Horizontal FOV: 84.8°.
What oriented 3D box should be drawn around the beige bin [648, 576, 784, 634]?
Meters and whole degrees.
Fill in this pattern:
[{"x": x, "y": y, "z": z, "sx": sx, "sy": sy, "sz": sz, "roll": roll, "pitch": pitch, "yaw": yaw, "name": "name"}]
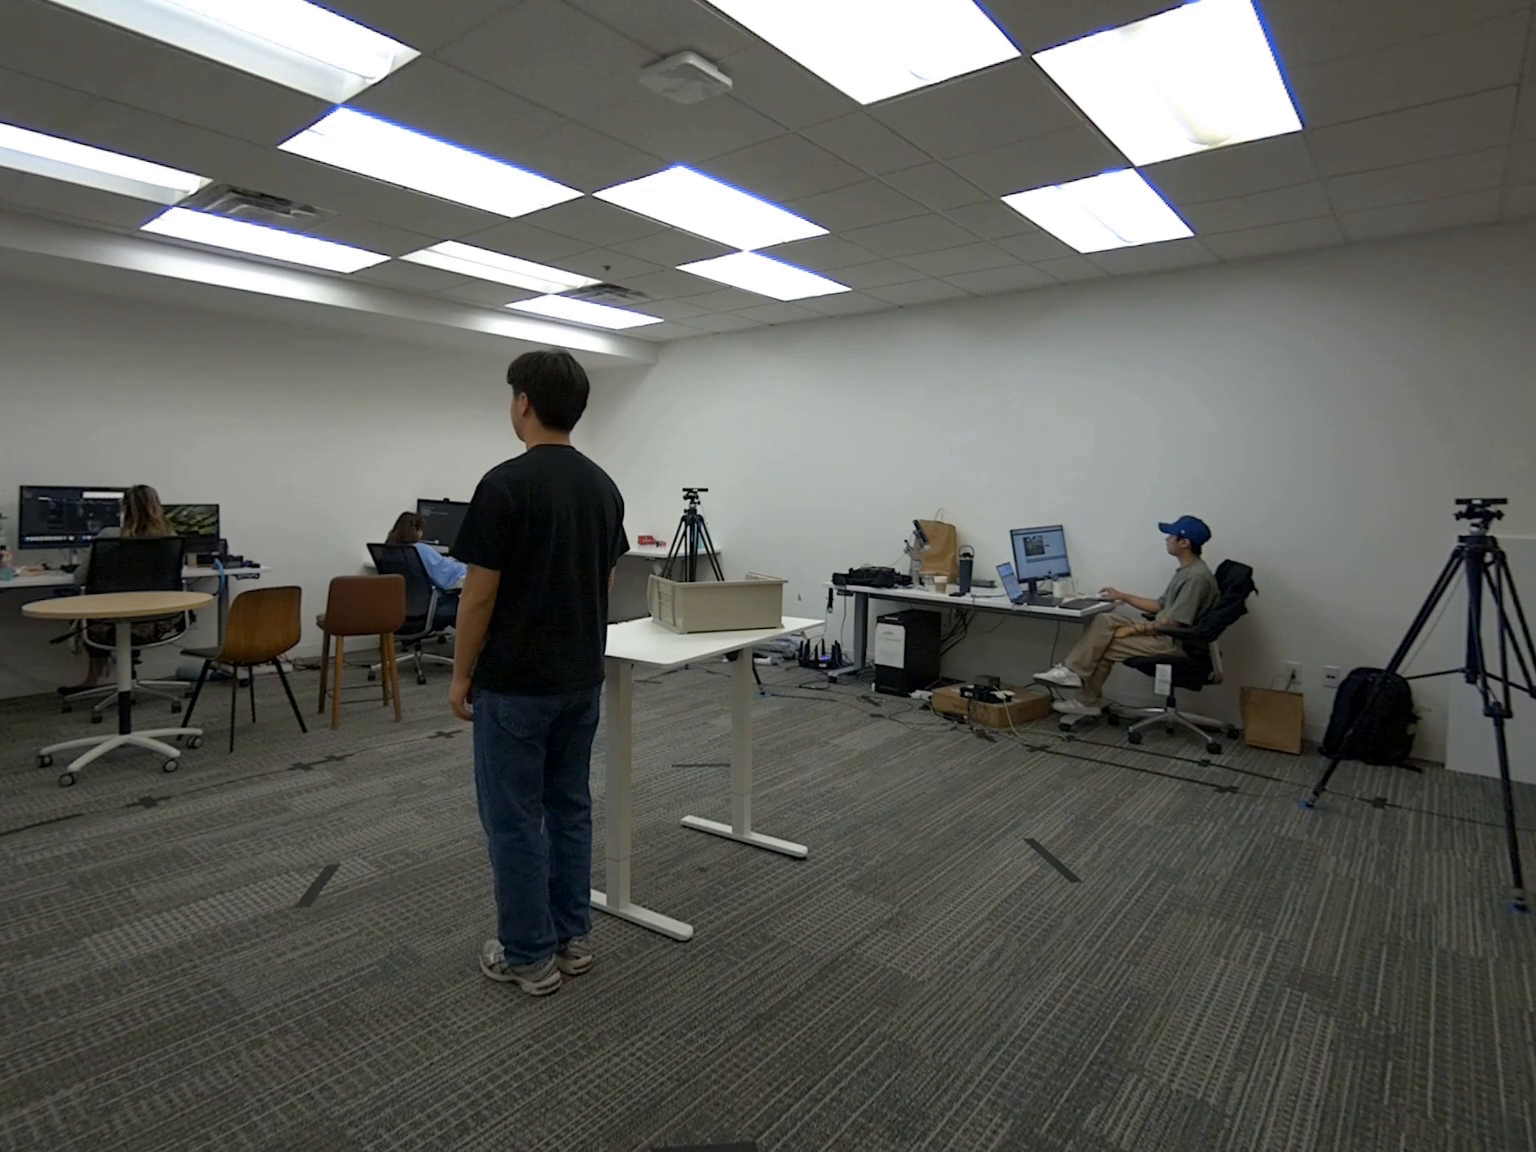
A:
[{"x": -0.204, "y": 0.090, "z": 3.179, "sx": 0.413, "sy": 0.188, "sz": 0.387, "roll": -1, "pitch": 6, "yaw": -23, "name": "beige bin"}]
